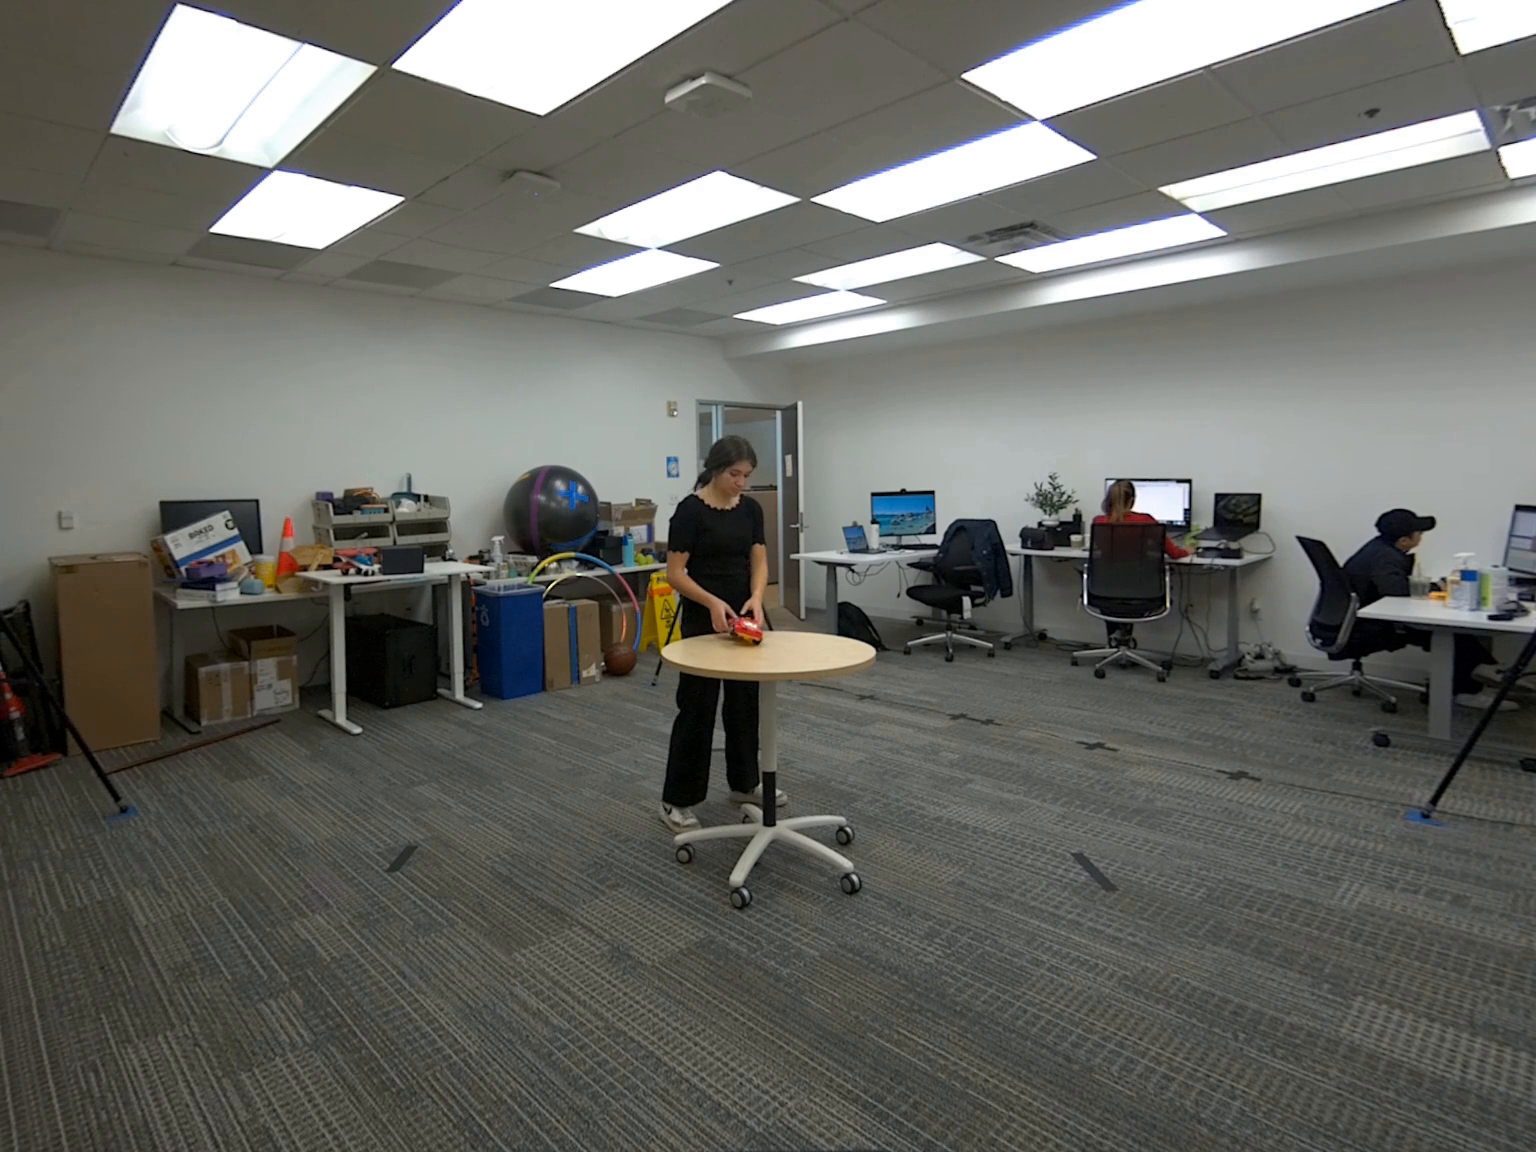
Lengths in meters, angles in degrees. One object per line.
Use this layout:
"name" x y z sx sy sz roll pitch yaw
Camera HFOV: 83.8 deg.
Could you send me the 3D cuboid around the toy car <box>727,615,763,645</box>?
"toy car" -0.085 0.208 3.208 0.129 0.084 0.256 19 -11 -11
